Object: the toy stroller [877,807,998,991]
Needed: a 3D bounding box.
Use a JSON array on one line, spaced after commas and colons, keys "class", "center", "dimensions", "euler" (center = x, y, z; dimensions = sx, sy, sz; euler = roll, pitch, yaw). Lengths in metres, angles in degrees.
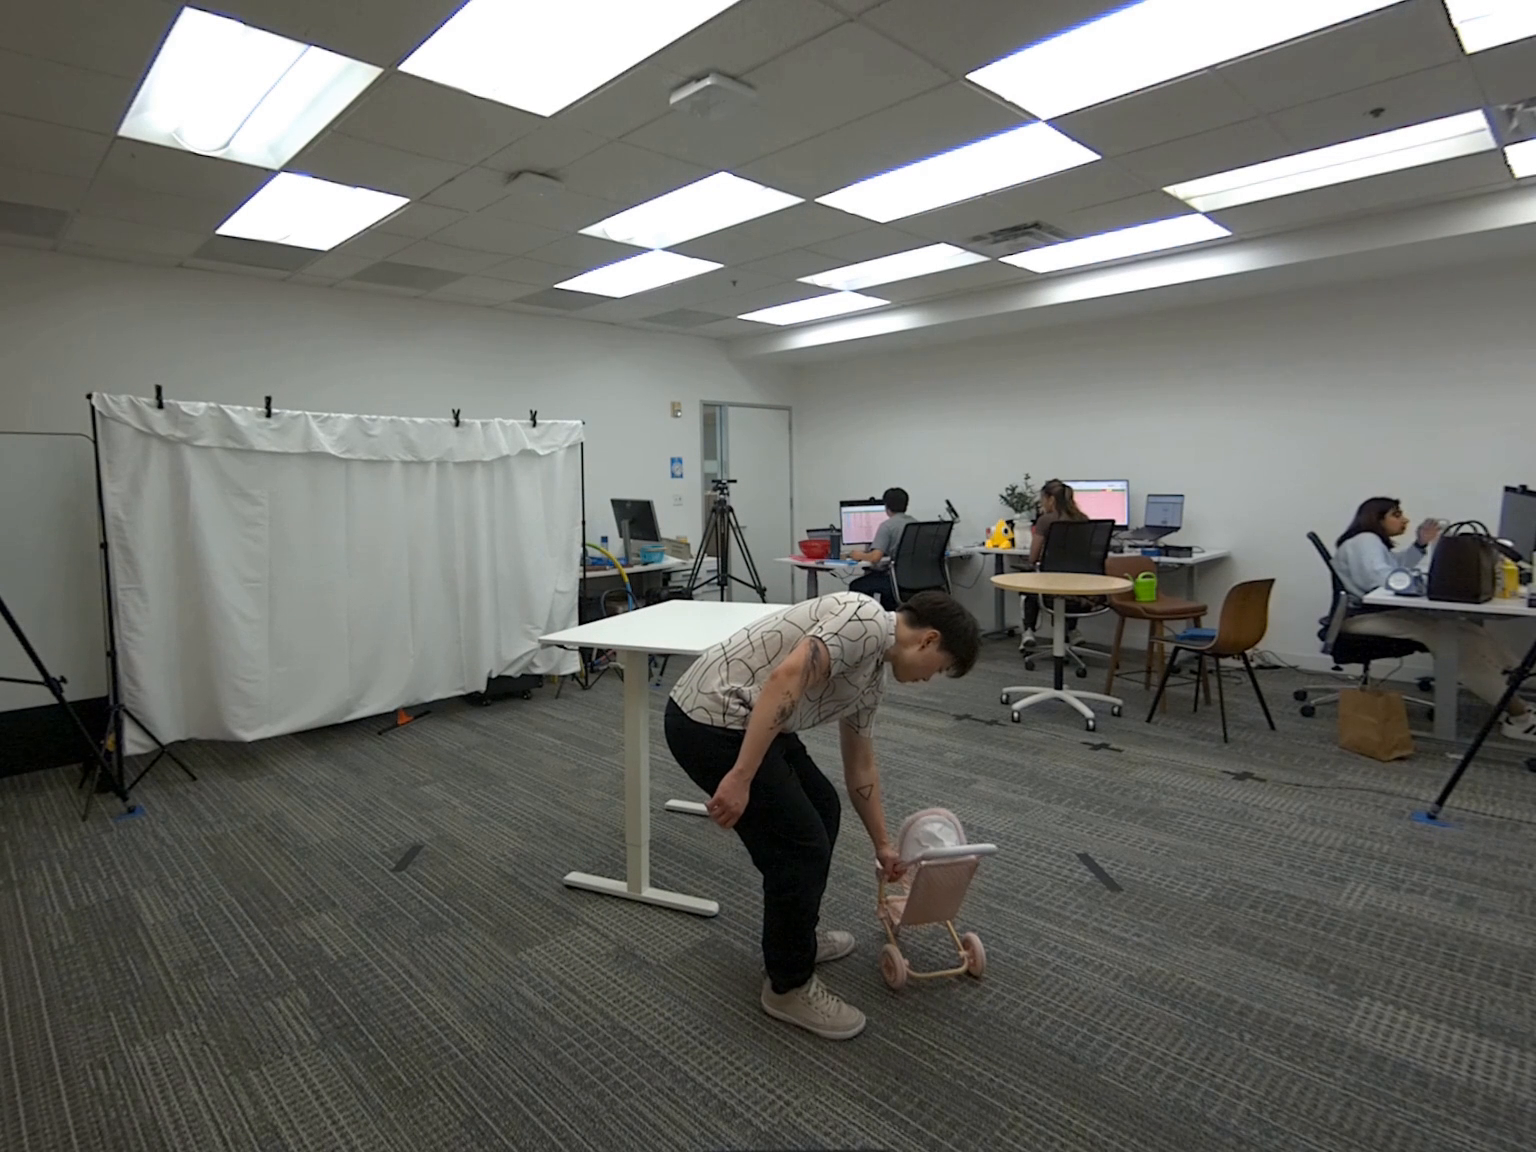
[{"class": "toy stroller", "center": [0.454, 0.882, 2.422], "dimensions": [0.278, 0.528, 0.350], "euler": [2, 18, -14]}]
